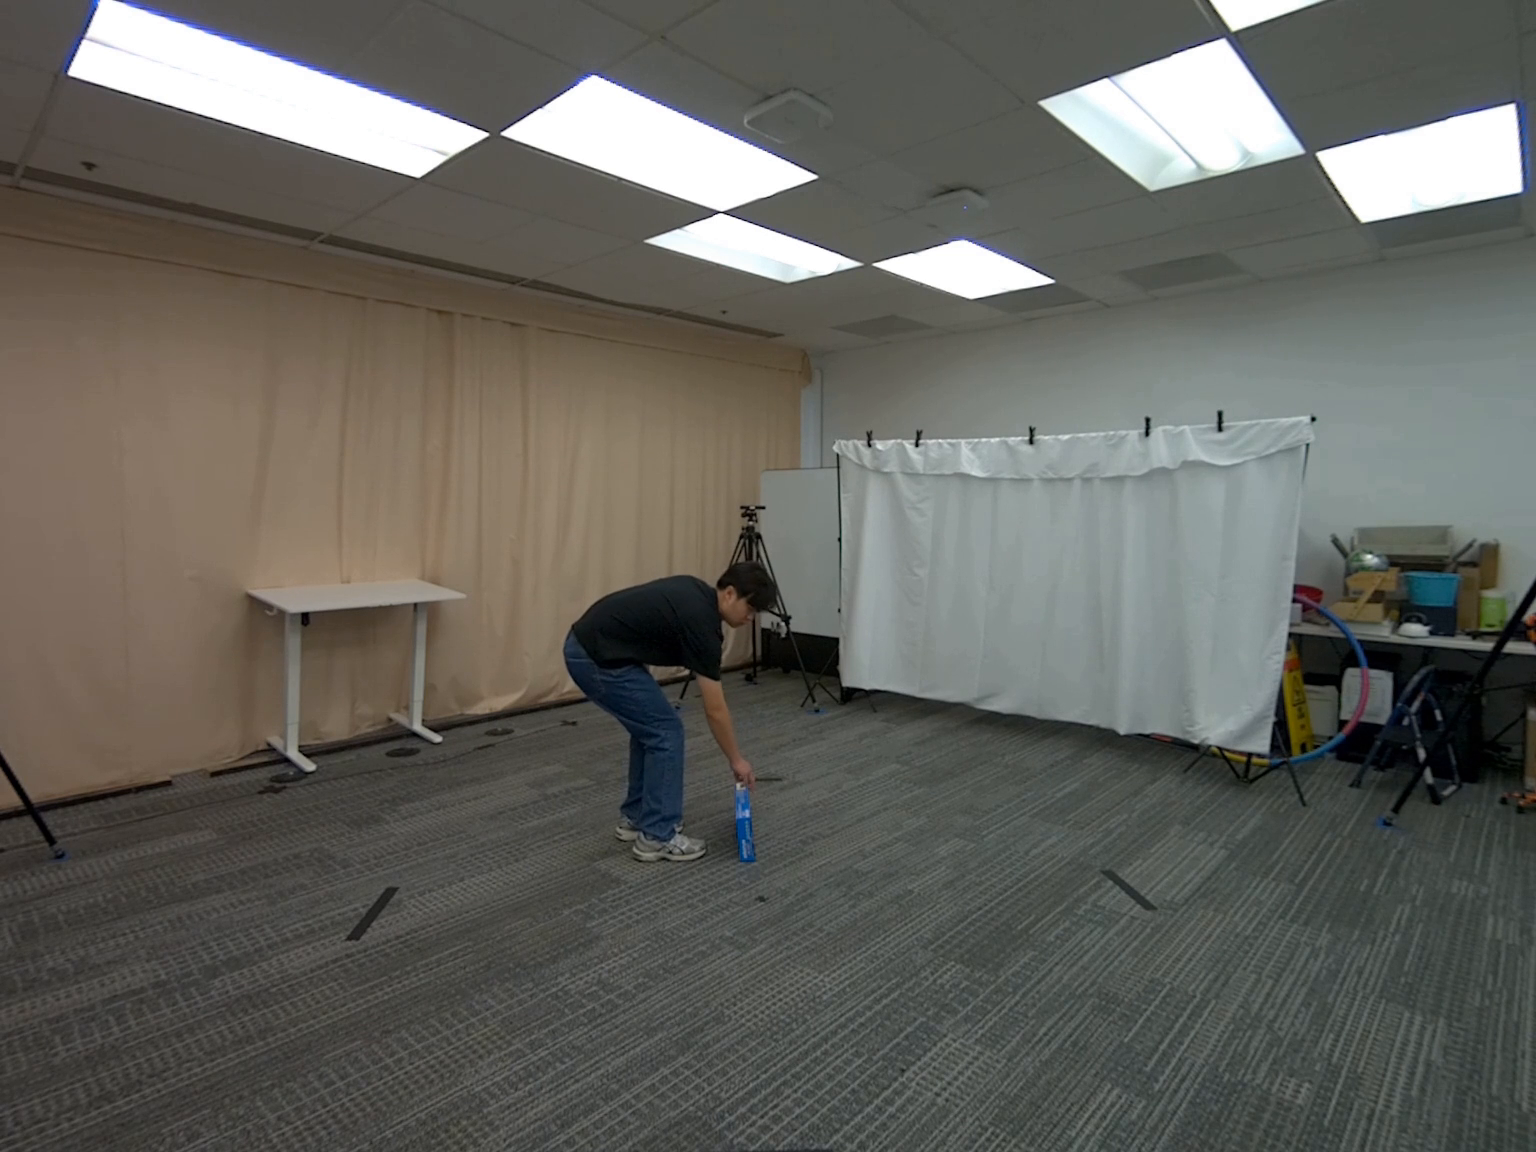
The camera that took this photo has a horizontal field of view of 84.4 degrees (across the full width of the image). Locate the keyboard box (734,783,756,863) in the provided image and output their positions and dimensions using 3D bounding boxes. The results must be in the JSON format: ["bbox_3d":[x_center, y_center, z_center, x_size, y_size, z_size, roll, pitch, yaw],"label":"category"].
[{"bbox_3d":[-0.099,1.009,3.504,0.059,0.175,0.439,-5,4,-4],"label":"keyboard box"}]
